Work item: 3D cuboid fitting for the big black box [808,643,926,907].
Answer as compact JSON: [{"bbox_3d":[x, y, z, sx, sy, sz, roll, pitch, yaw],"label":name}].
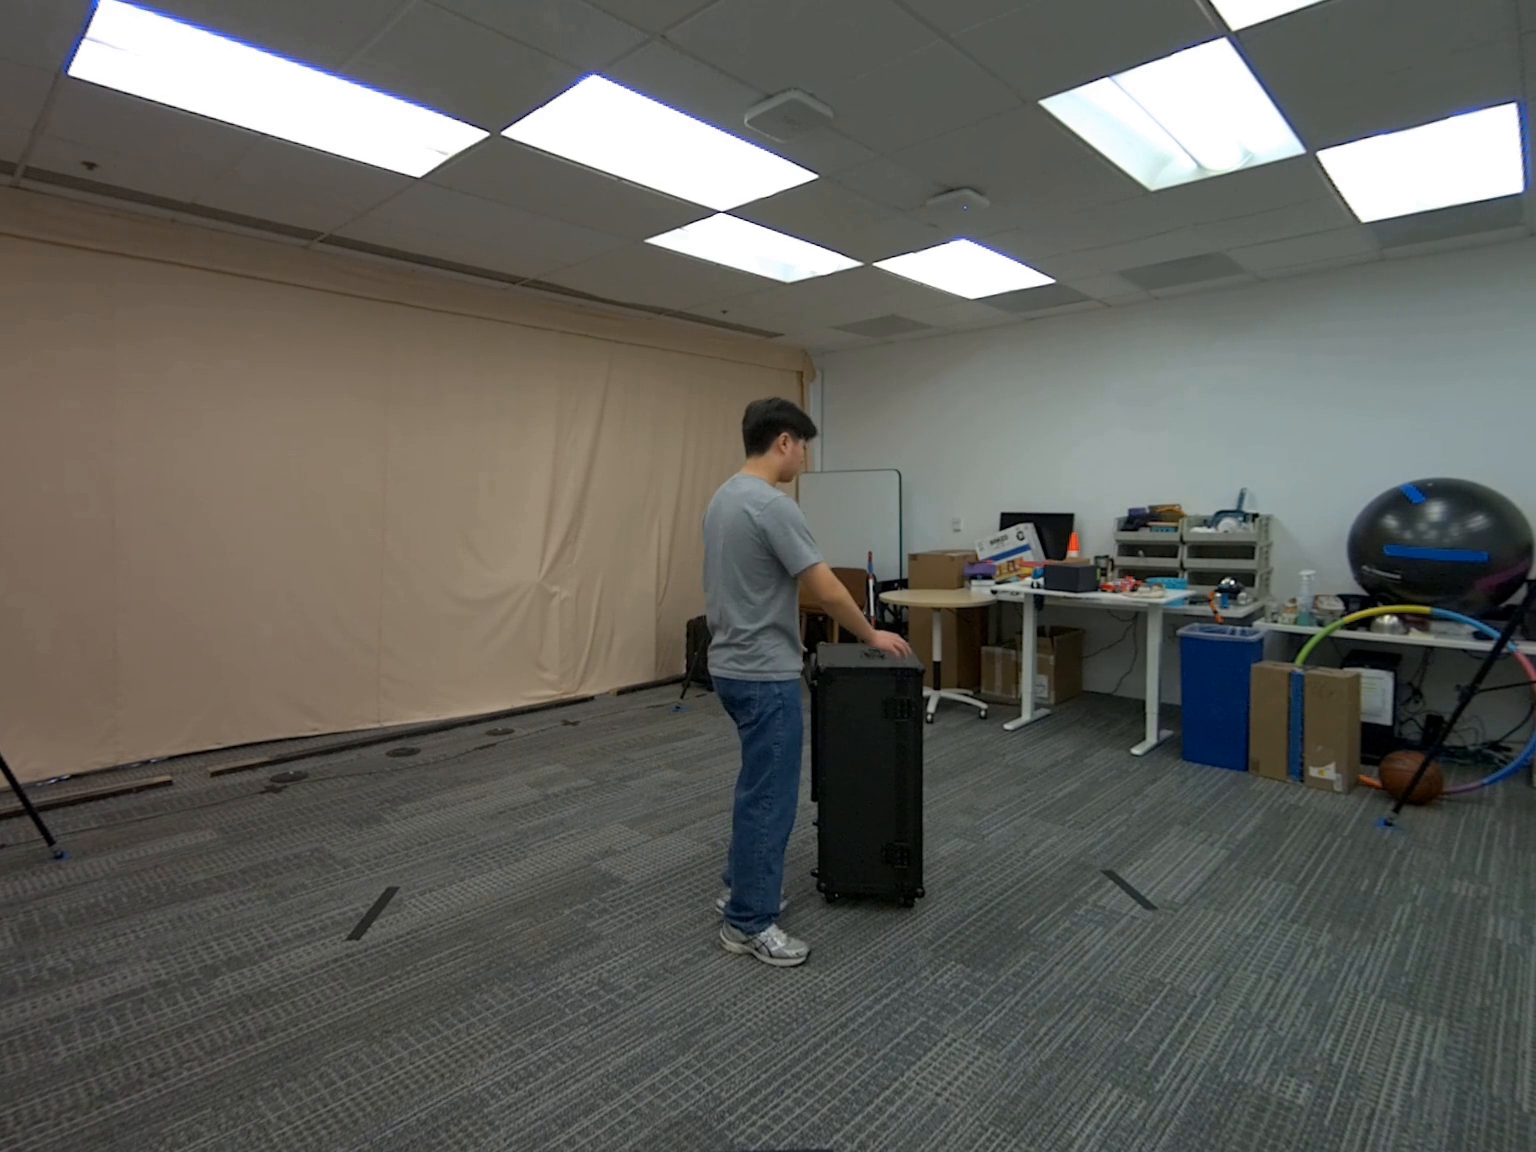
[{"bbox_3d":[0.360,0.712,3.073,0.399,0.859,0.518,-1,4,6],"label":"big black box"}]
